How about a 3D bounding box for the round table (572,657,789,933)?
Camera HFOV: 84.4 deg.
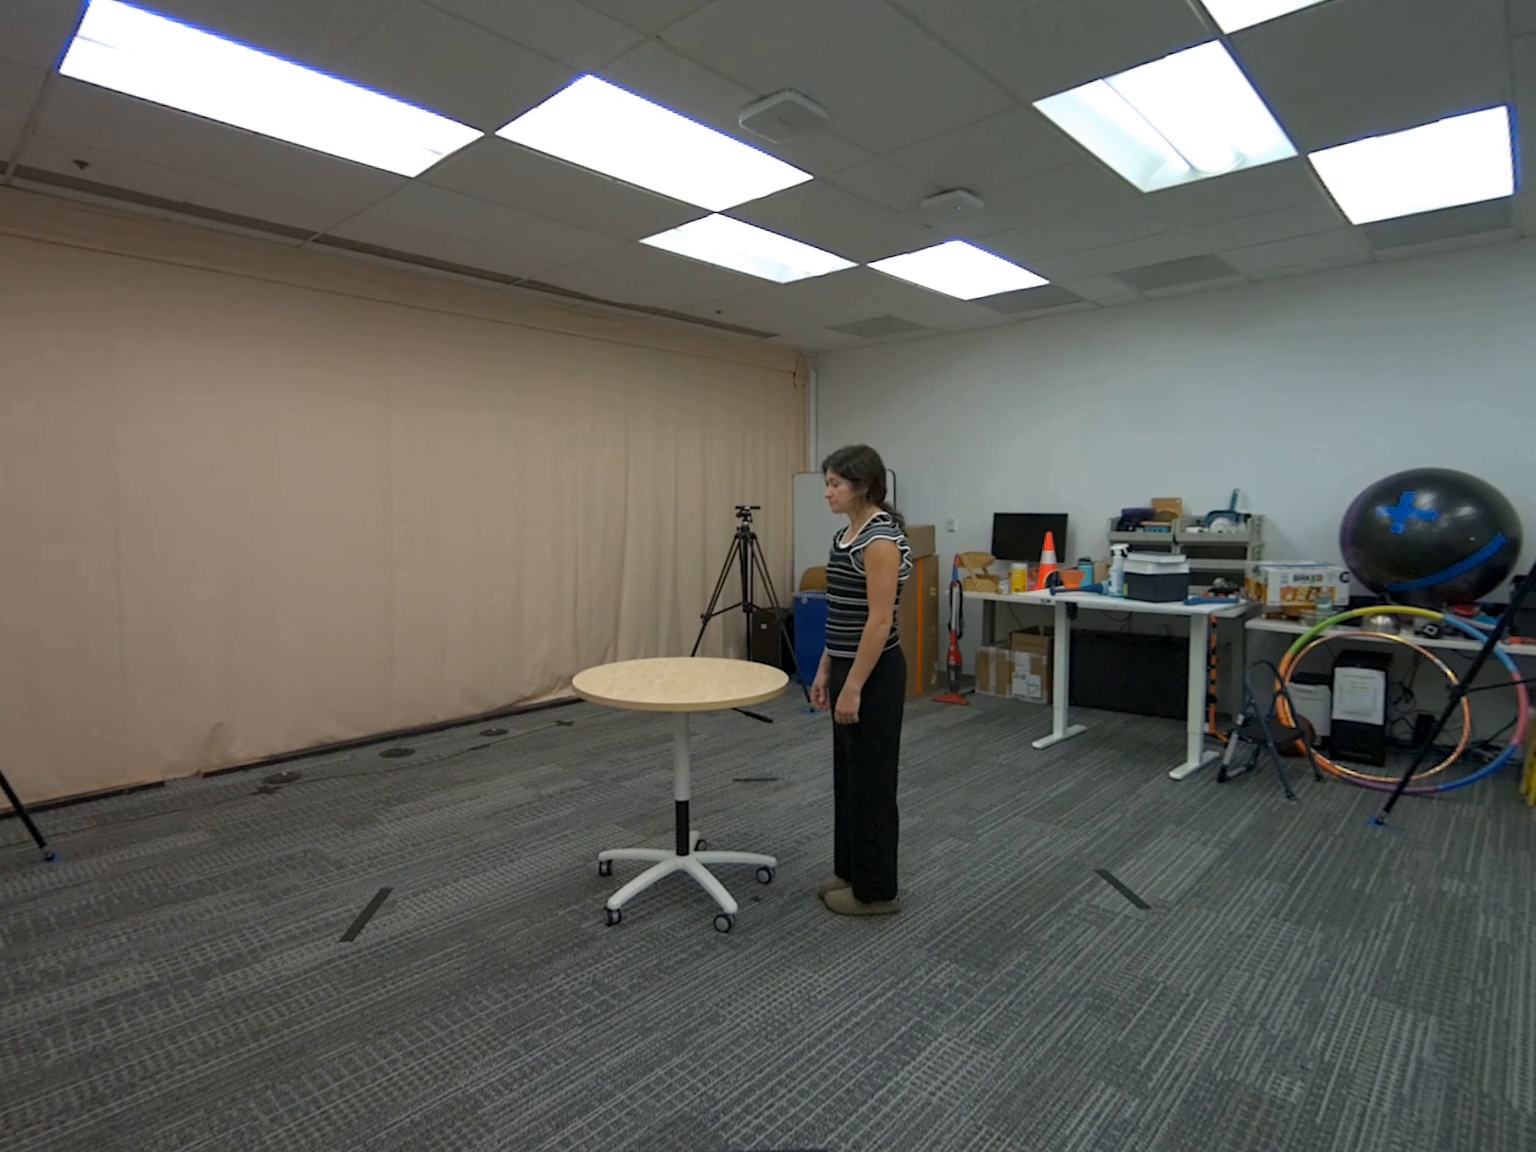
[{"bbox_3d":[-0.294,0.751,3.029,0.784,0.784,0.788,-1,4,-2],"label":"round table"}]
